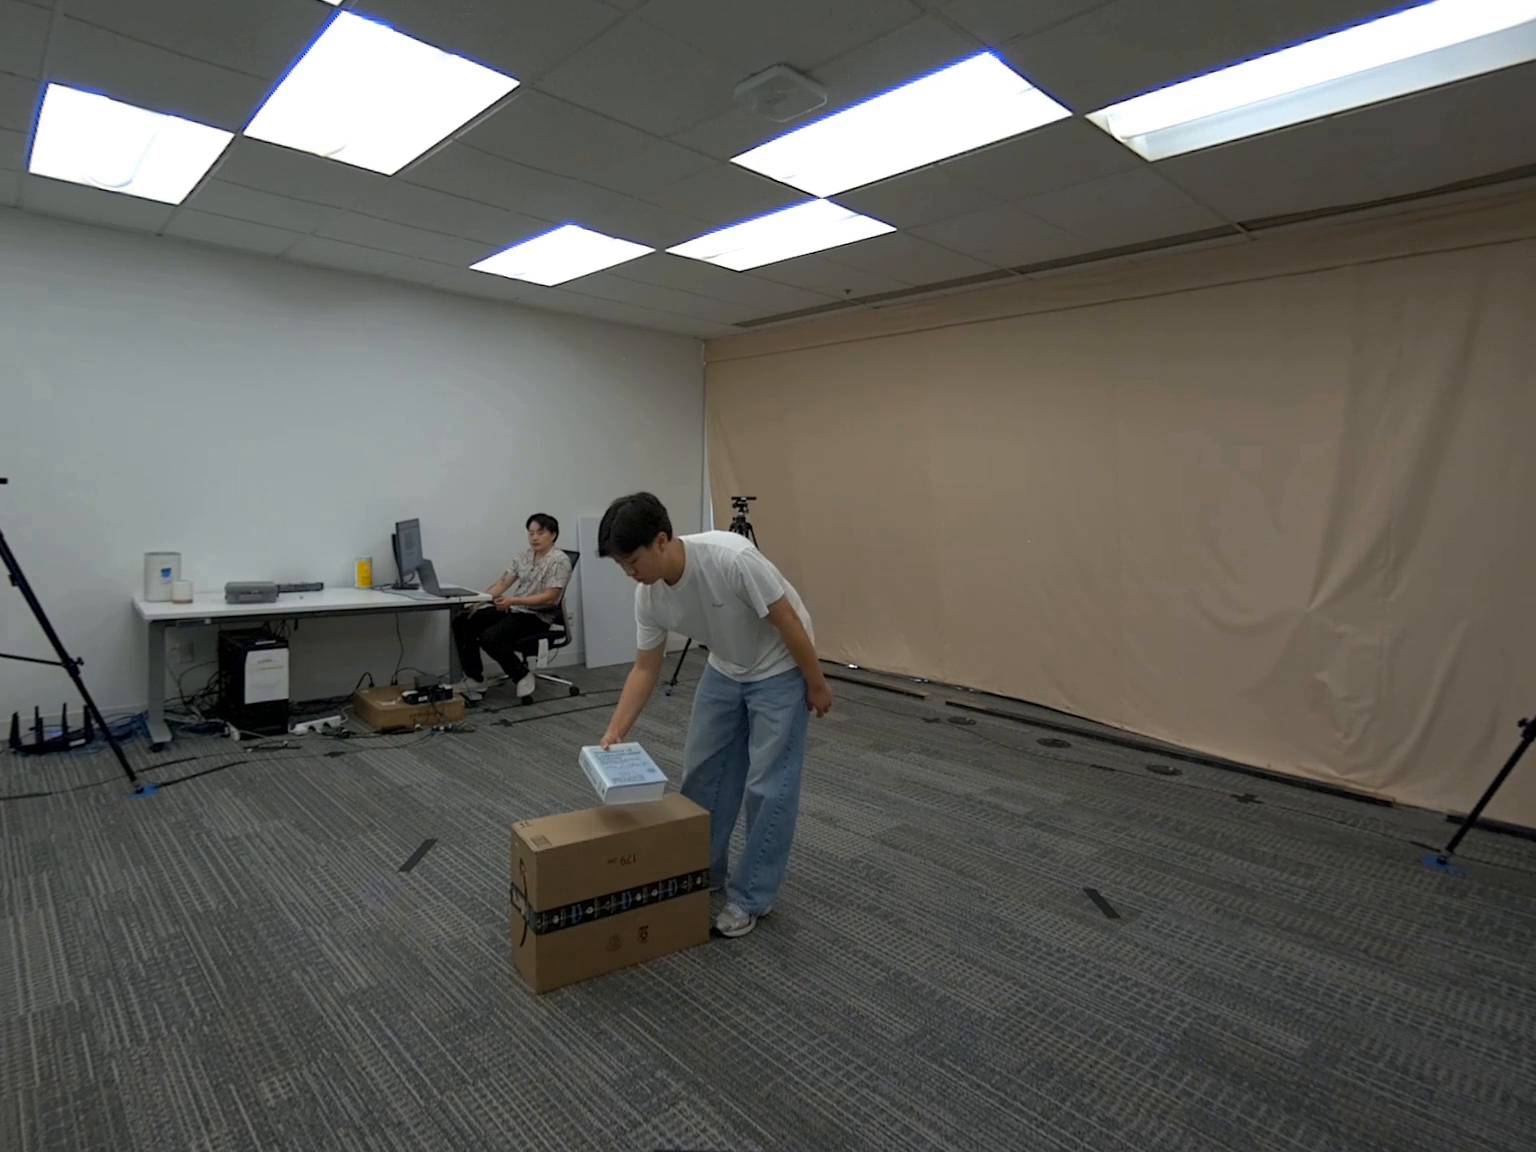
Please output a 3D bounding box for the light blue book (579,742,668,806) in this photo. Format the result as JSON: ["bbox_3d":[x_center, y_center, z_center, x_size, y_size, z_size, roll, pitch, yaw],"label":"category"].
[{"bbox_3d":[-0.447,0.596,2.559,0.187,0.058,0.268,2,13,-28],"label":"light blue book"}]
